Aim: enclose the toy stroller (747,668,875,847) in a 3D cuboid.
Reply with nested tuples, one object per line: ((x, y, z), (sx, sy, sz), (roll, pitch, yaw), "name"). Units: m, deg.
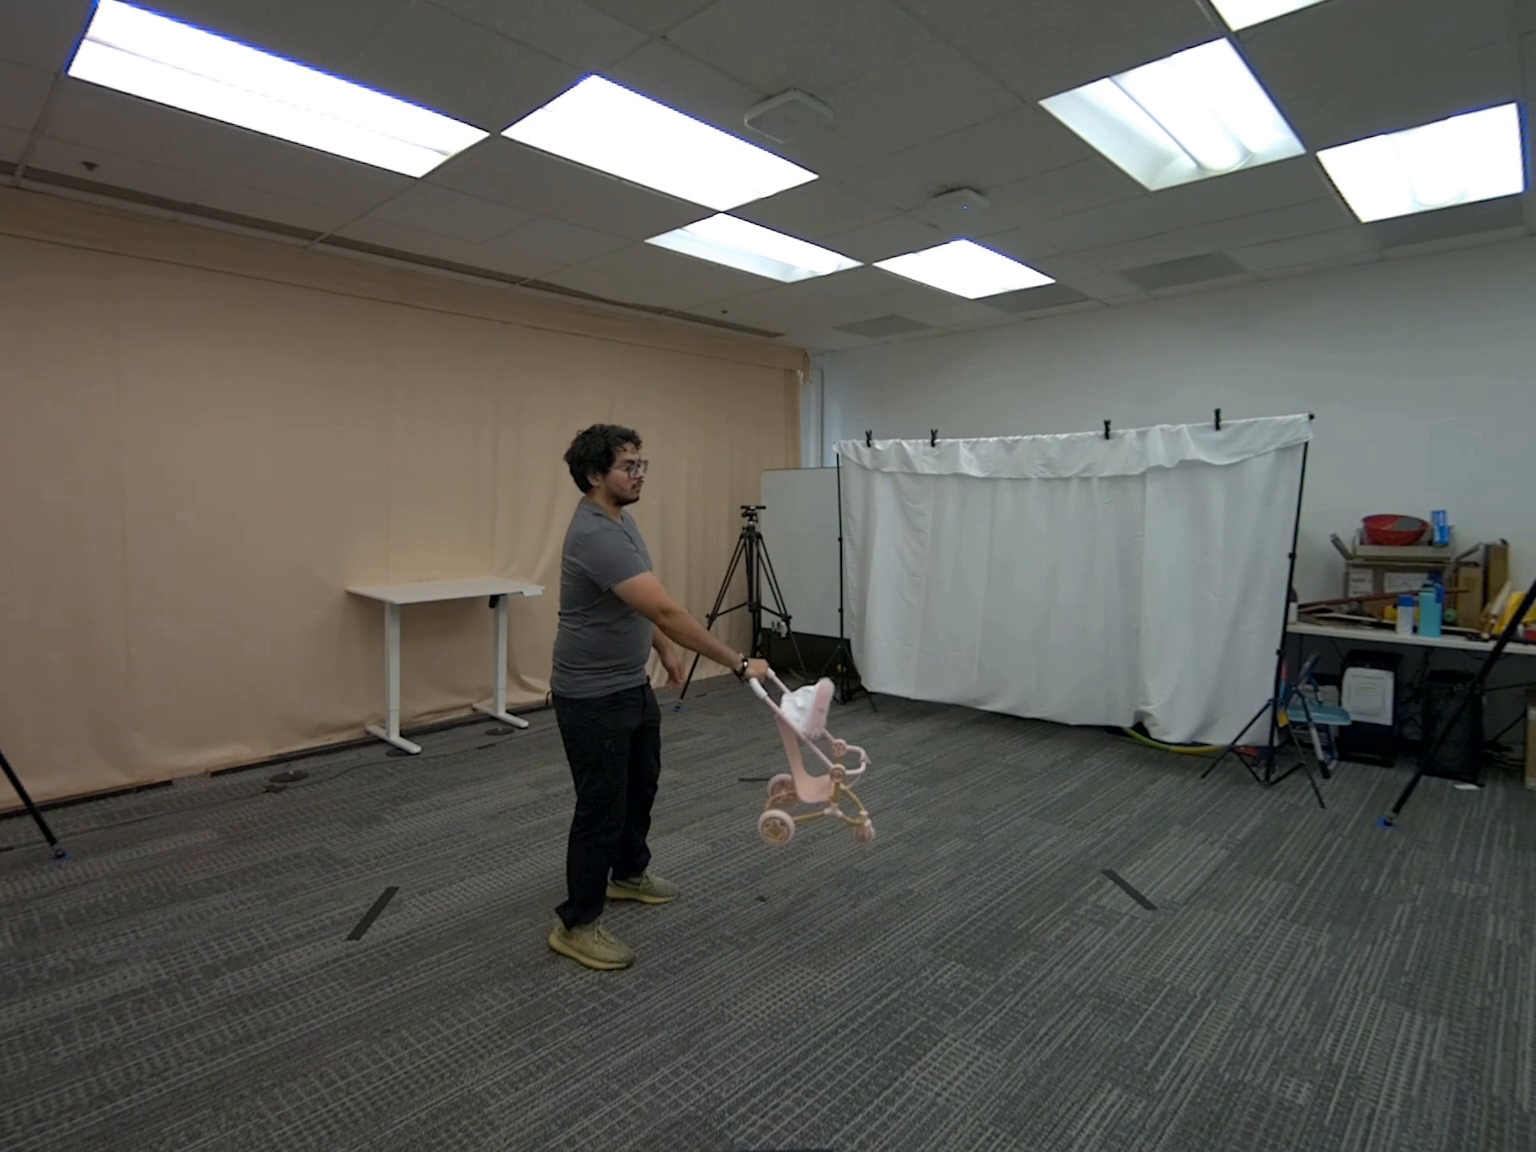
((0.136, 0.545, 2.464), (0.346, 0.532, 0.279), (-1, 7, 13), "toy stroller")
